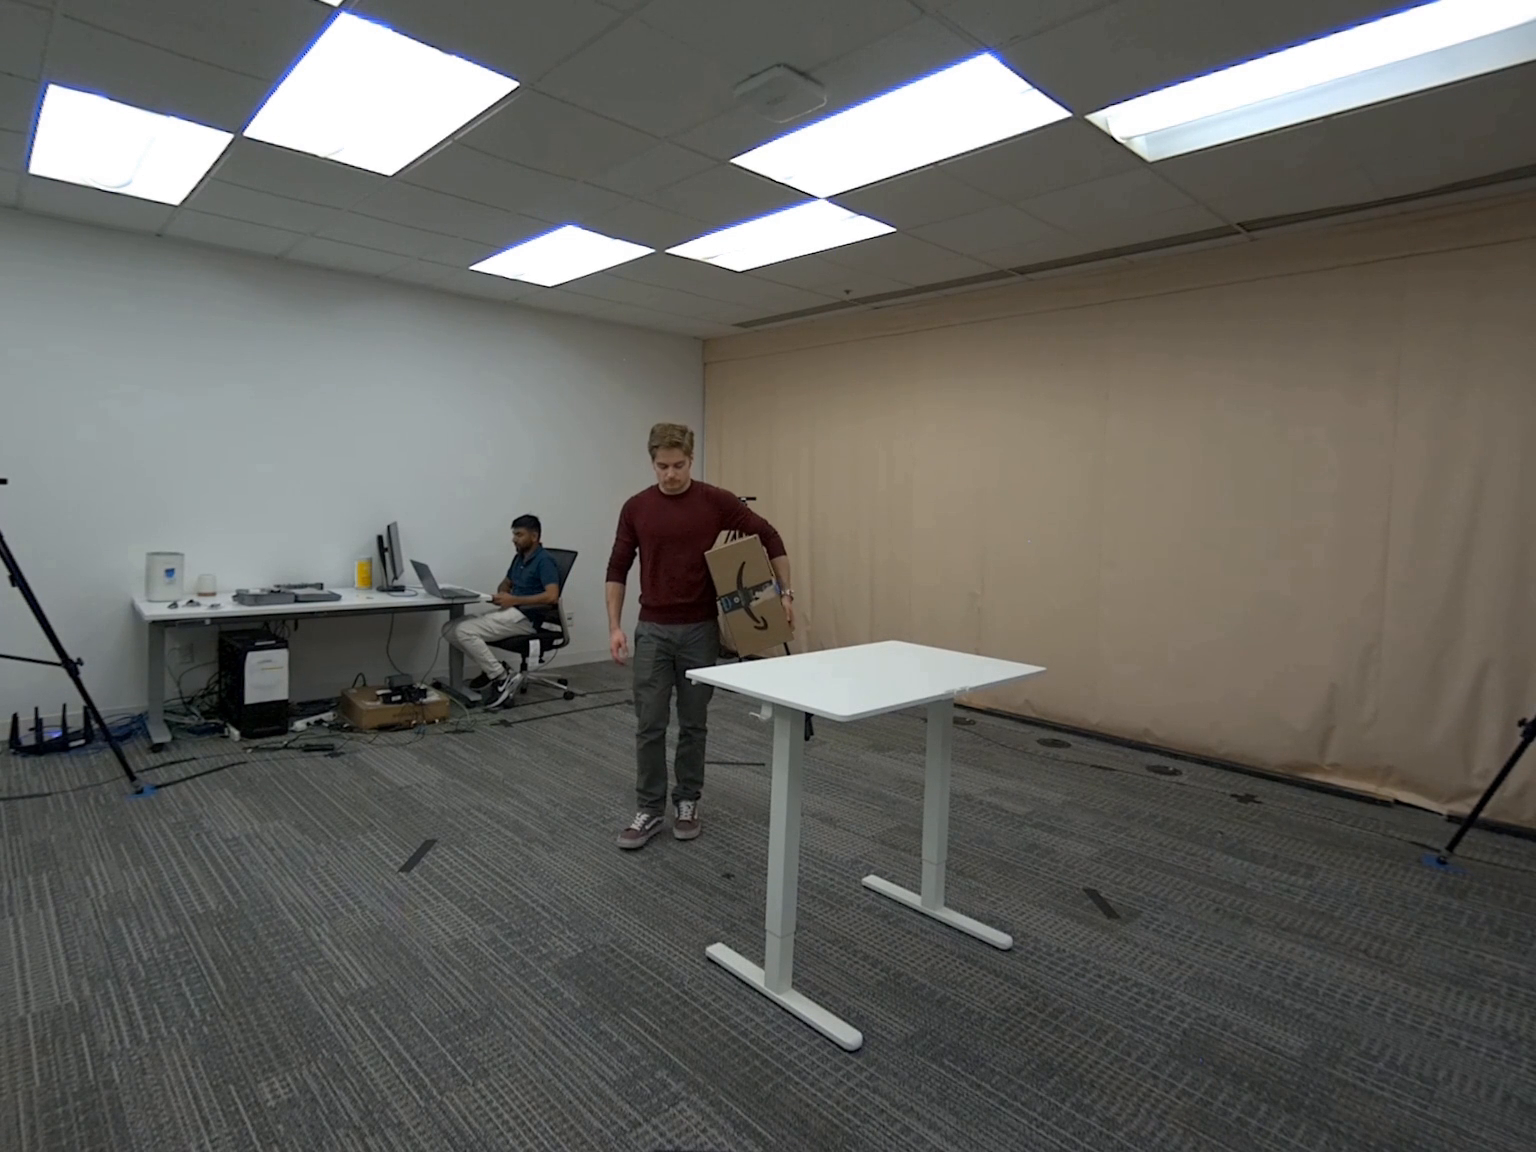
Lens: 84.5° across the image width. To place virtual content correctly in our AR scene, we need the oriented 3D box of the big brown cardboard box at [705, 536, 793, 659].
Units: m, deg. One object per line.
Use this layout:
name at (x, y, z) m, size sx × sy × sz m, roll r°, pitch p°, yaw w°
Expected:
big brown cardboard box at (-0.078, 0.060, 3.420) m, size 0.233 × 0.417 × 0.589 m, roll -18°, pitch 3°, yaw 2°
